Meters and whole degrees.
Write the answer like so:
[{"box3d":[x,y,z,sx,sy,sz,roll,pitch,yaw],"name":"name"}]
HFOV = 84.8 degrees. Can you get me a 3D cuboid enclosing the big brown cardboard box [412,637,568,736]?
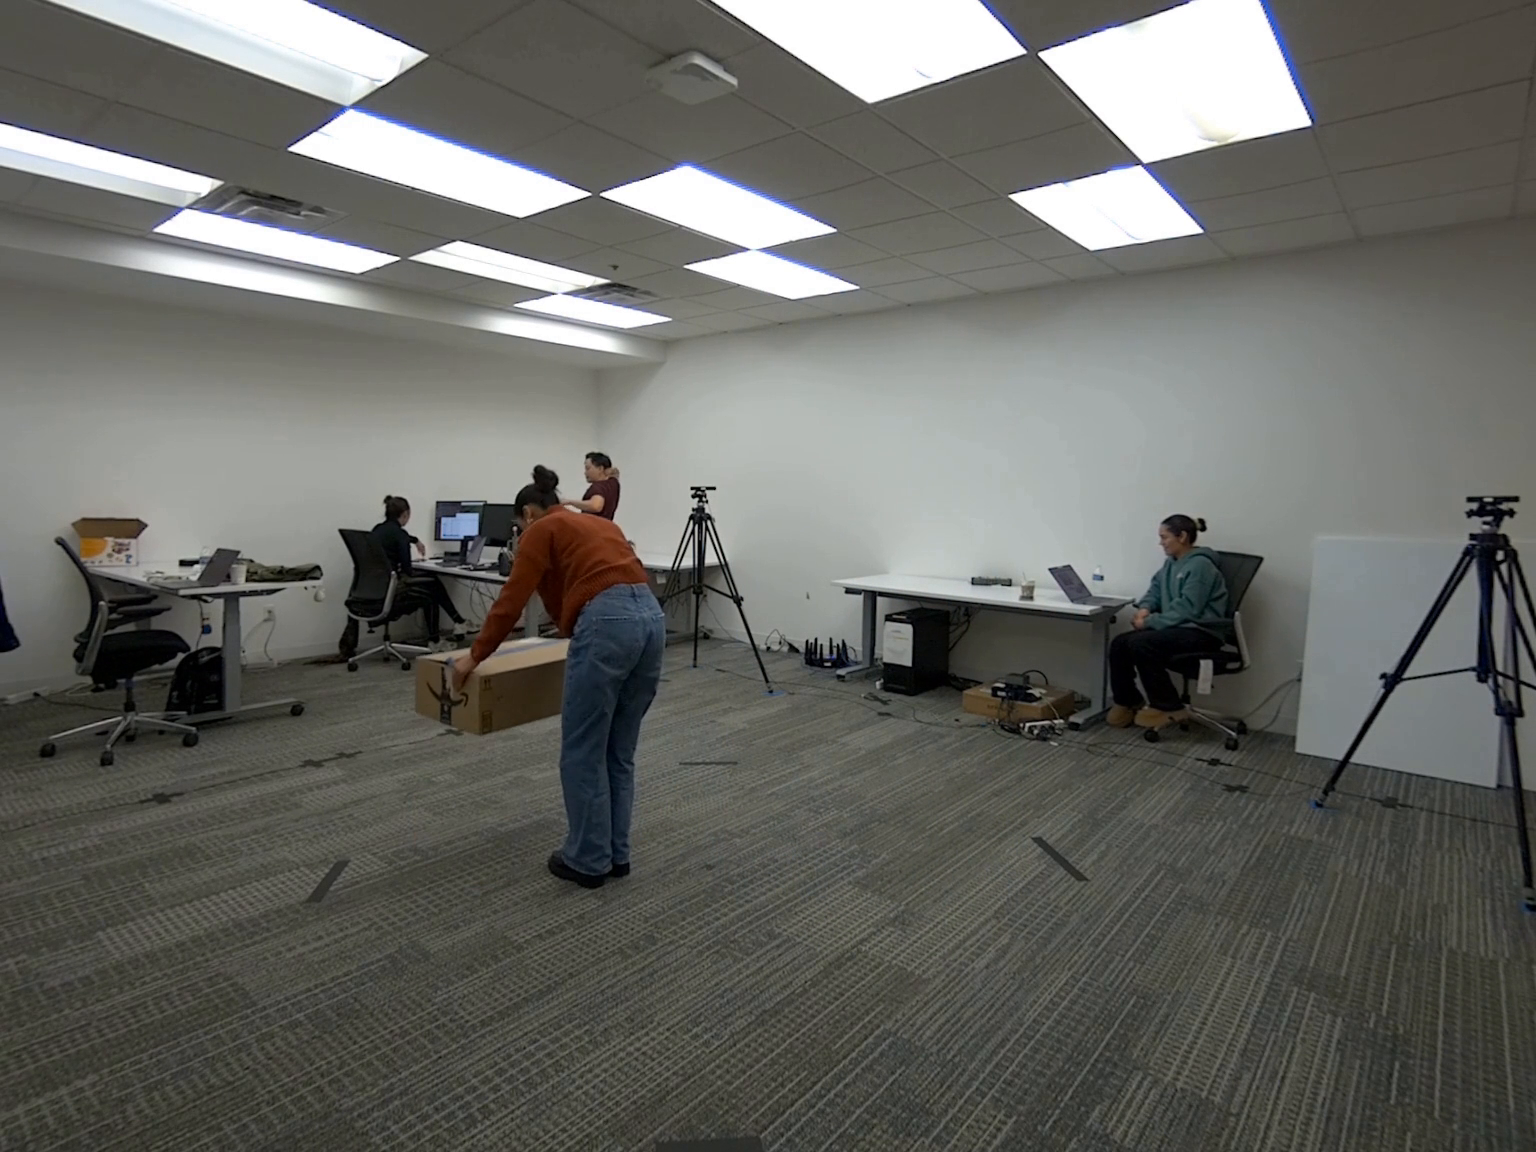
[{"box3d":[-1.010,0.407,3.288,0.431,0.232,0.573,5,8,36],"name":"big brown cardboard box"}]
